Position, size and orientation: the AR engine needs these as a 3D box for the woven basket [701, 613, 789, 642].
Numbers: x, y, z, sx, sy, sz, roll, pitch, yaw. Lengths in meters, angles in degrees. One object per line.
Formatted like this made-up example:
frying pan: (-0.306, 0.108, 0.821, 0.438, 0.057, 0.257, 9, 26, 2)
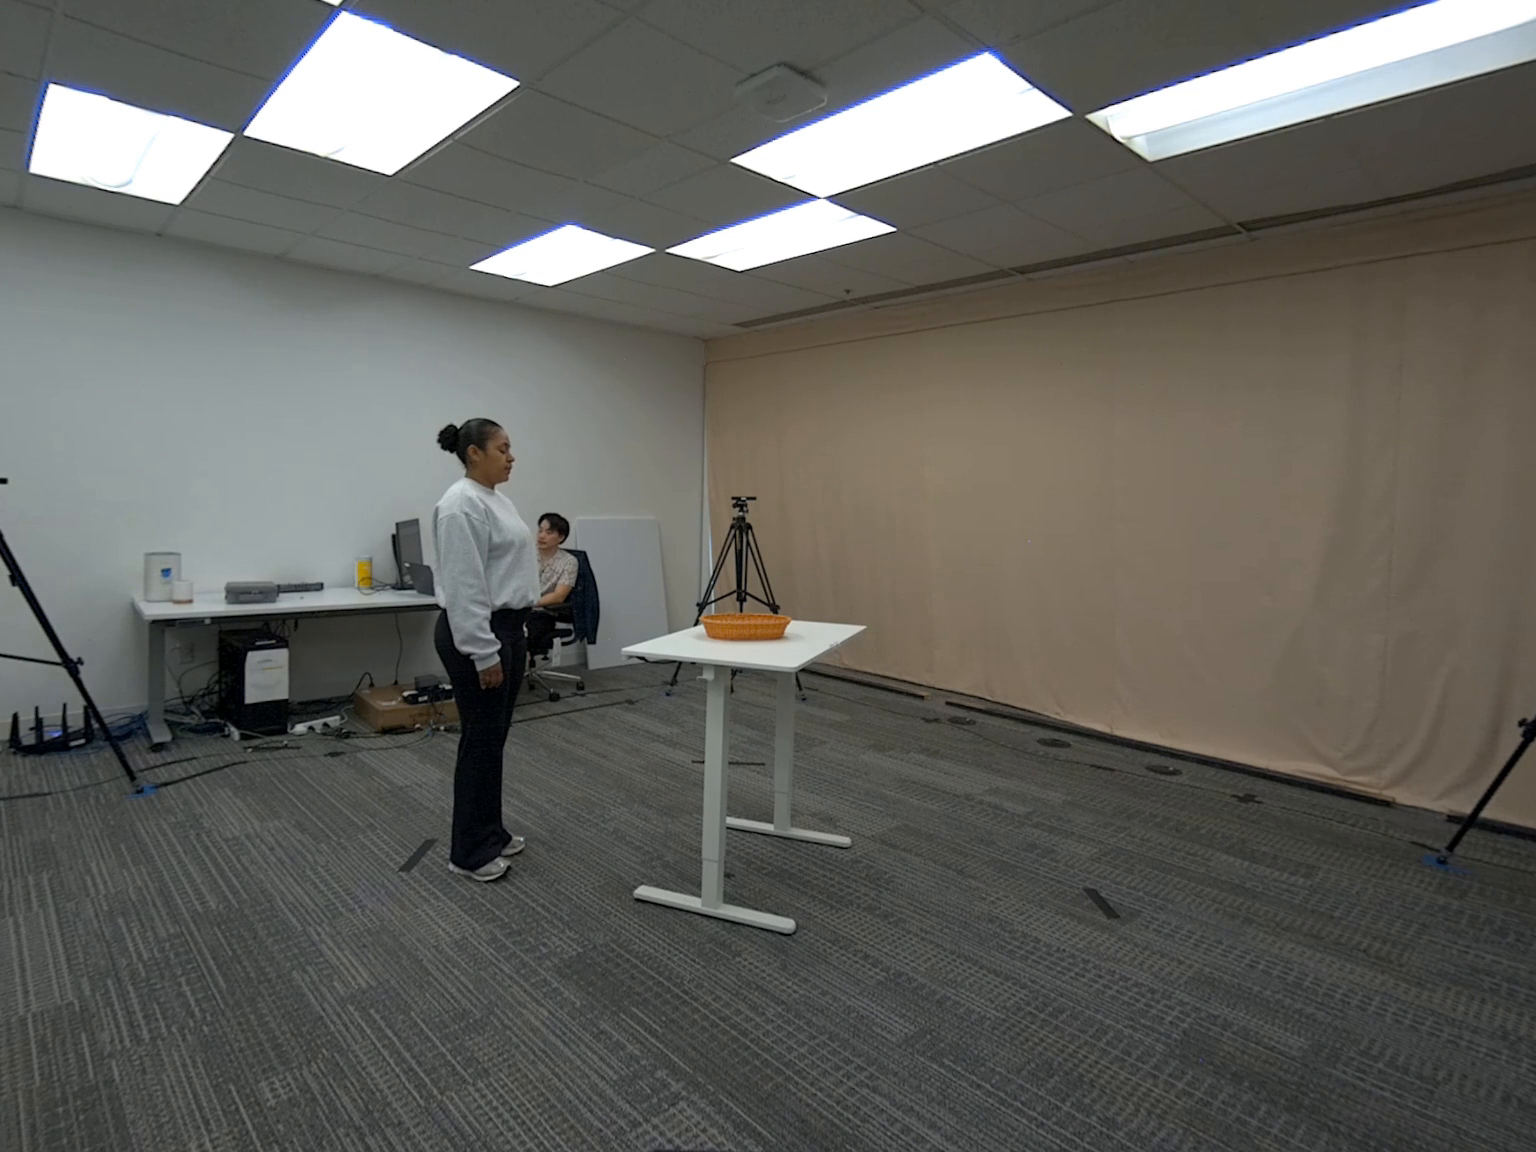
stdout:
woven basket: (-0.102, 0.194, 3.107, 0.346, 0.073, 0.256, 0, 6, -16)
